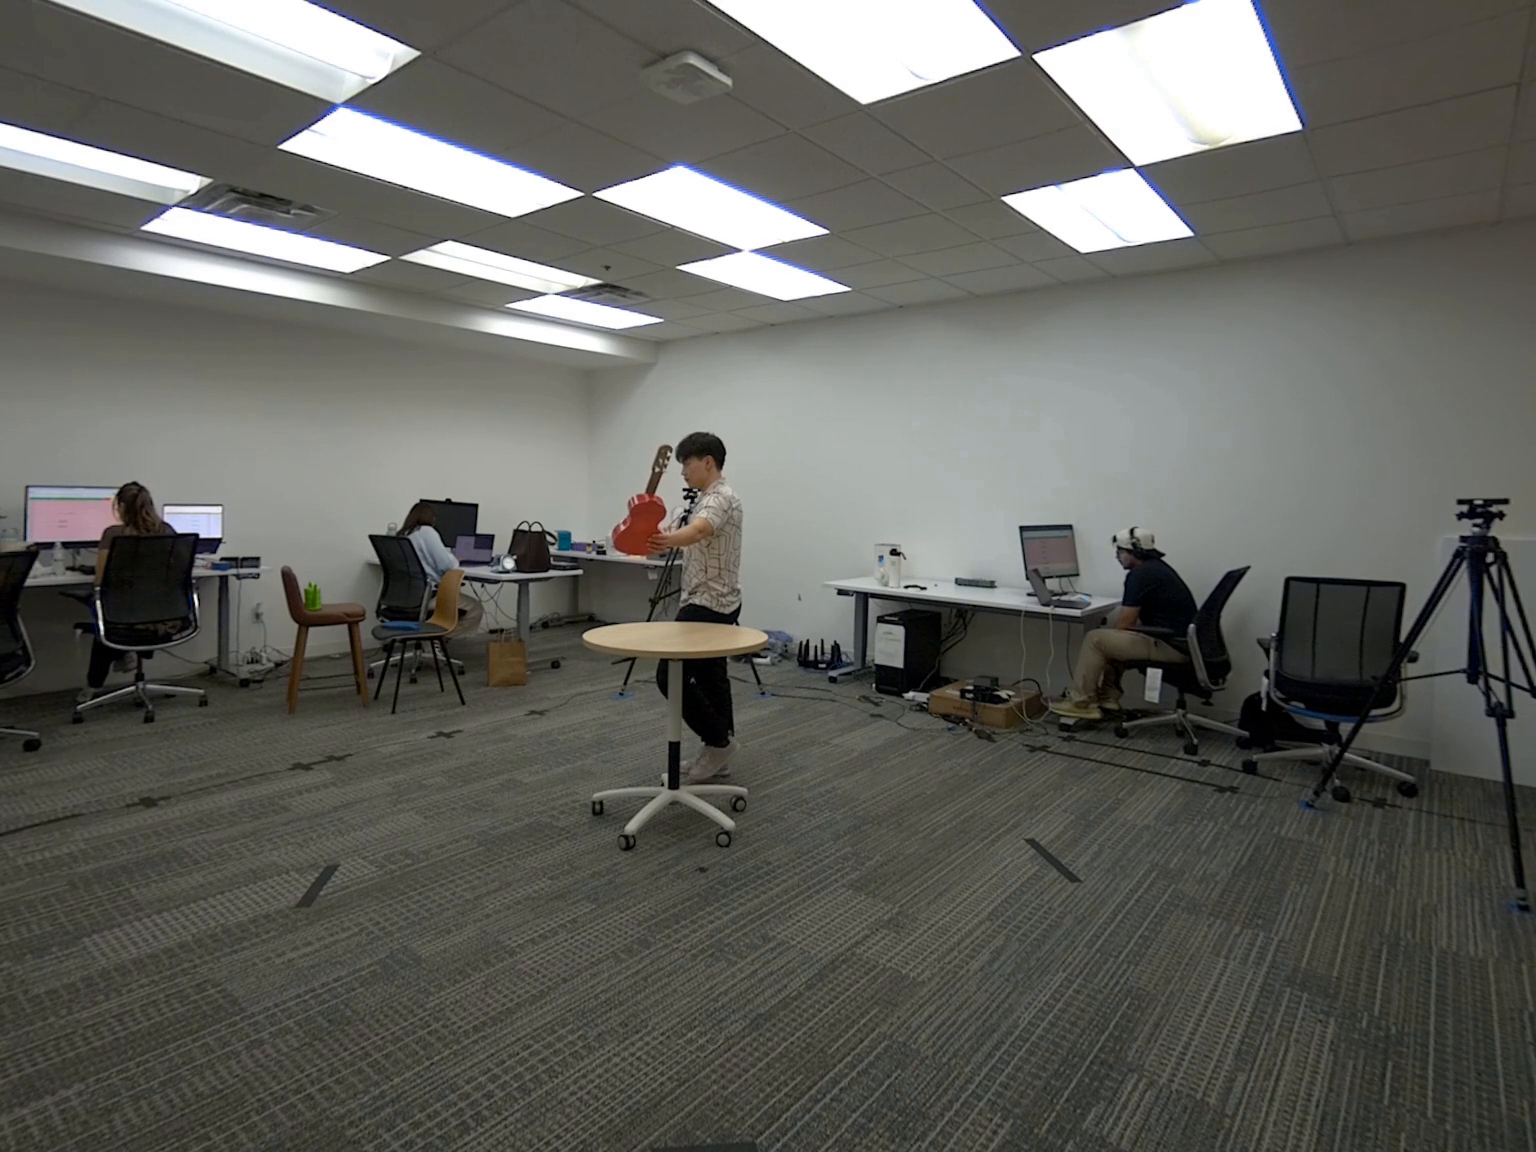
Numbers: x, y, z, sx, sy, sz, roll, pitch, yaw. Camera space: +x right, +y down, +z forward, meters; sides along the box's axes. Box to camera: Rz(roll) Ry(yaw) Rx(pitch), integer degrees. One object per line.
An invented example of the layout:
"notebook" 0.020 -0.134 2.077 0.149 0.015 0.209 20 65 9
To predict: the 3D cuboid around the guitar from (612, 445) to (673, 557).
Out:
"guitar" -0.510 -0.295 3.326 0.189 0.488 0.073 -3 40 -21
